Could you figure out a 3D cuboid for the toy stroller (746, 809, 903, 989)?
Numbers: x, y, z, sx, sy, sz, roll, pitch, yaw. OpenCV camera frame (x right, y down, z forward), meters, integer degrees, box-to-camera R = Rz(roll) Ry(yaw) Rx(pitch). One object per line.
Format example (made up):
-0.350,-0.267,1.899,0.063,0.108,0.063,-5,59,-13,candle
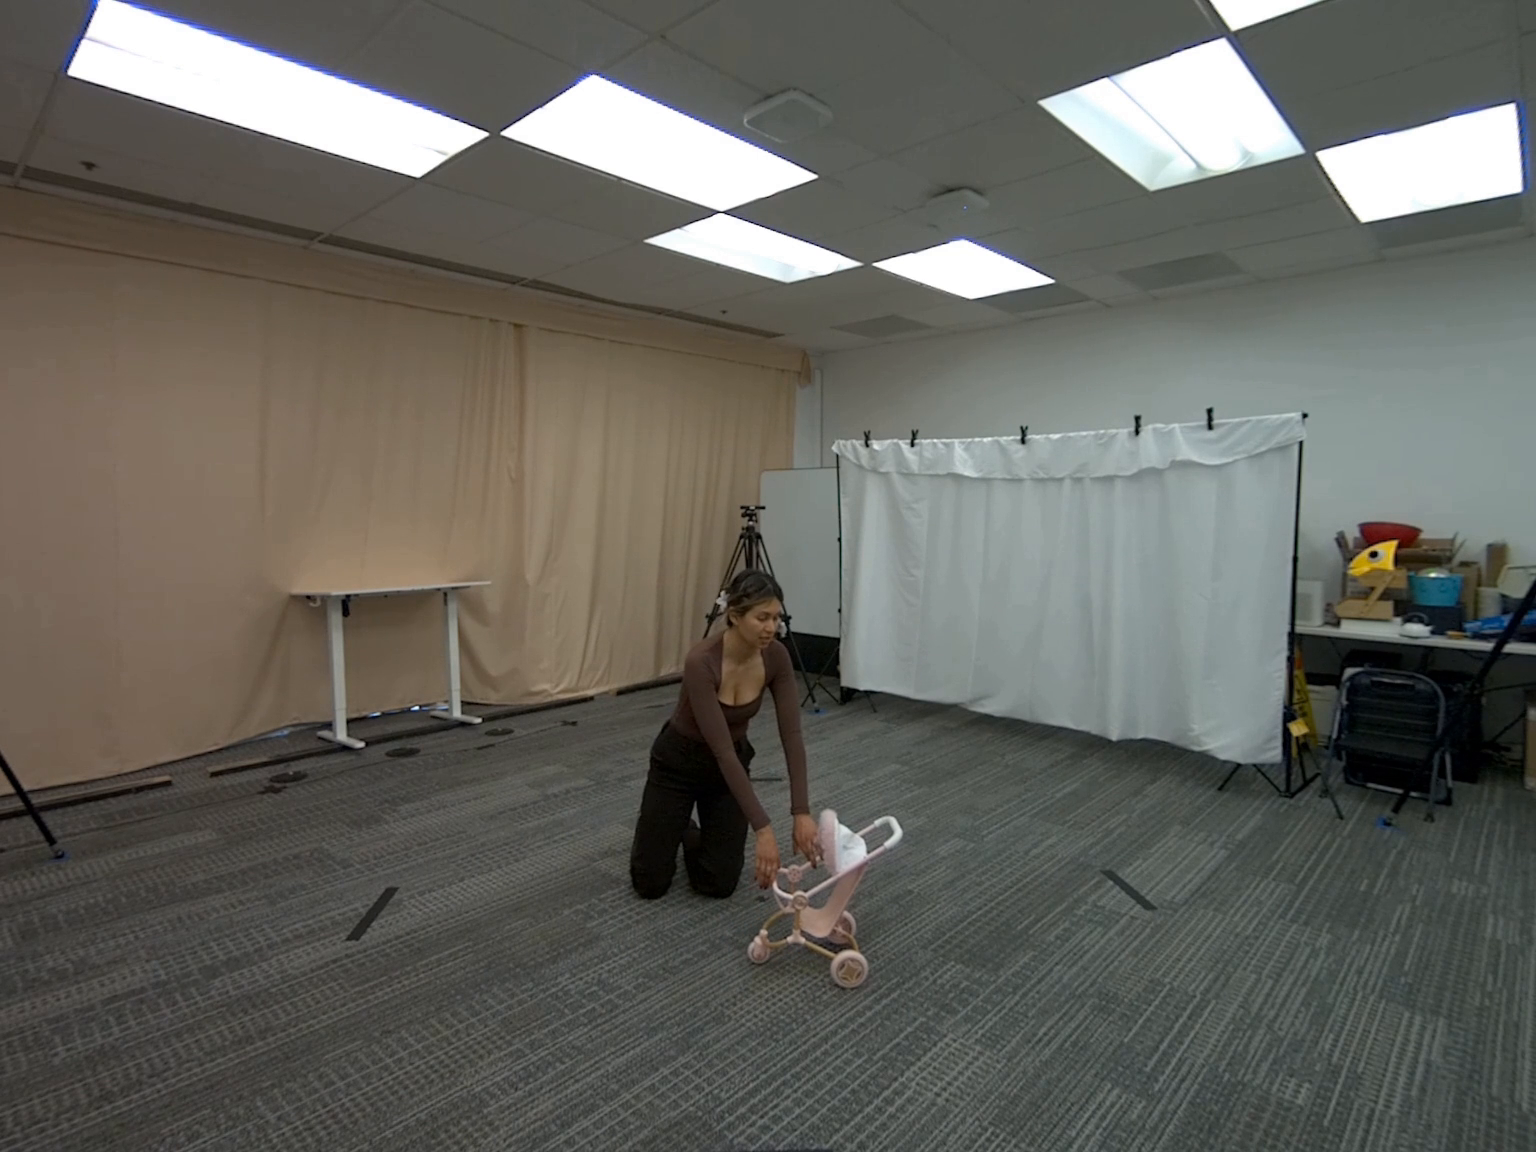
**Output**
0.166,0.954,2.556,0.343,0.534,0.280,16,3,4,toy stroller
